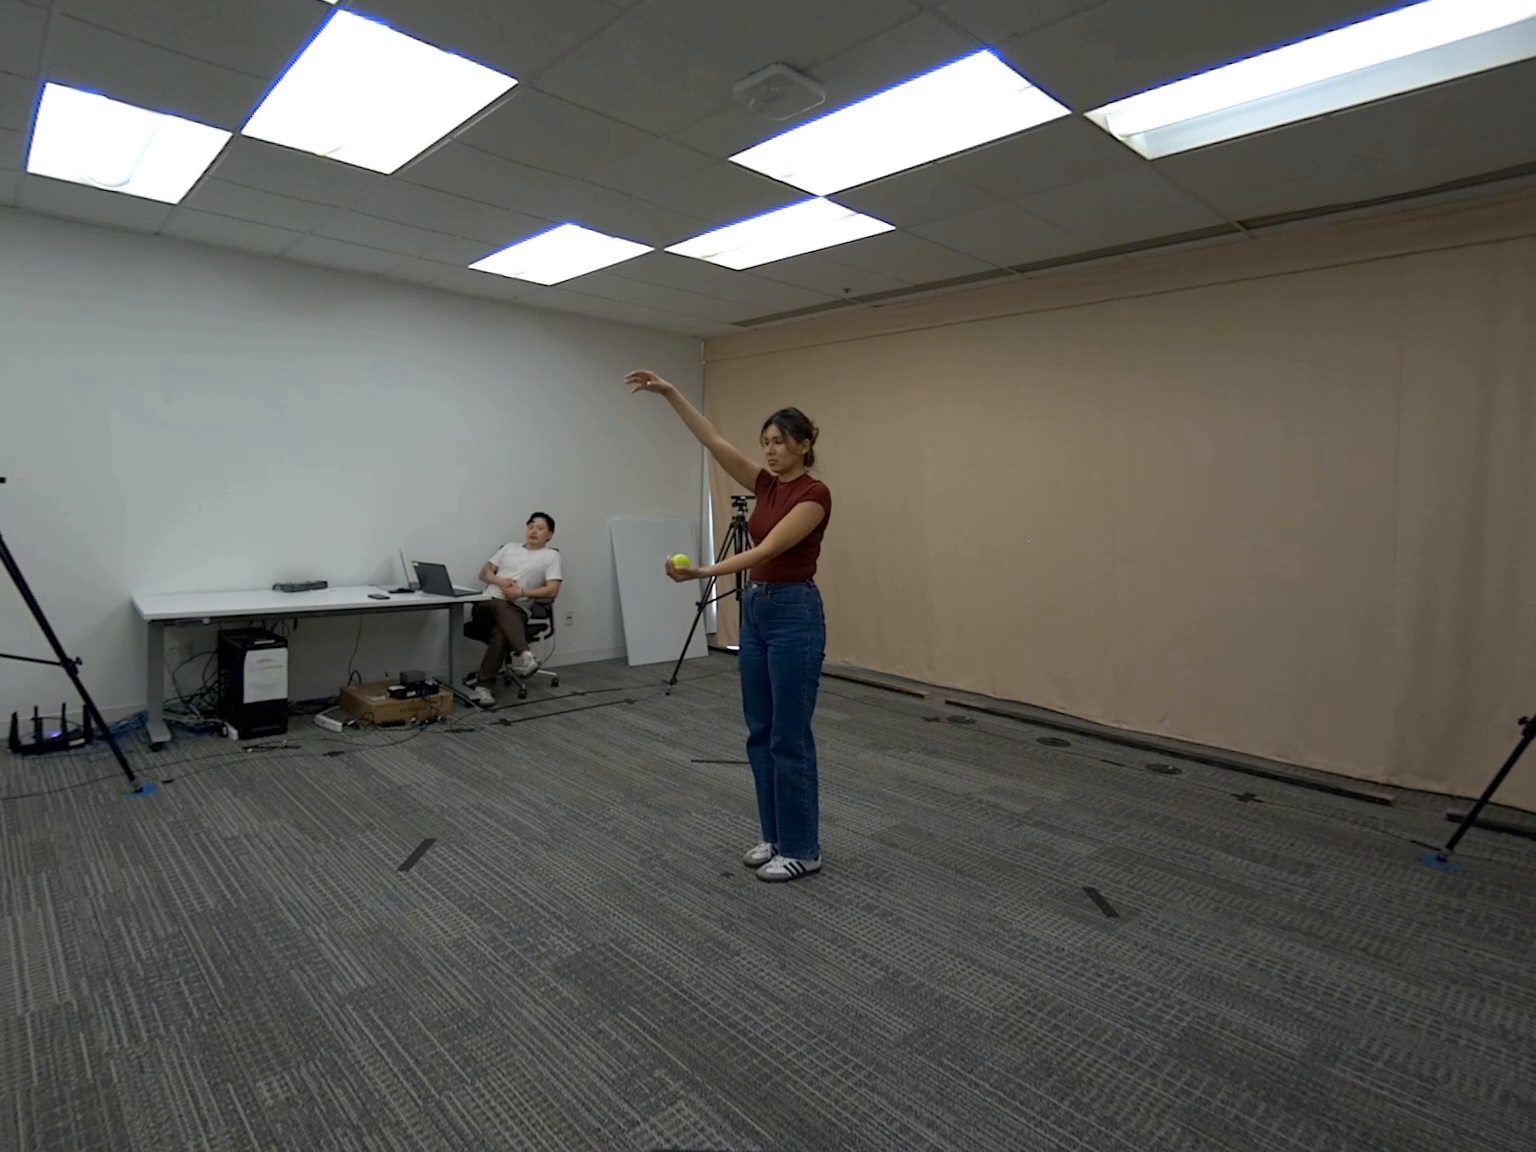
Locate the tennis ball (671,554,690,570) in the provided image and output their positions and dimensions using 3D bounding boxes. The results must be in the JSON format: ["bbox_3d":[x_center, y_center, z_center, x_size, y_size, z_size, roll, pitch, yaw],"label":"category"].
[{"bbox_3d":[-0.296,-0.072,2.854,0.066,0.066,0.067,1,4,-1],"label":"tennis ball"}]
